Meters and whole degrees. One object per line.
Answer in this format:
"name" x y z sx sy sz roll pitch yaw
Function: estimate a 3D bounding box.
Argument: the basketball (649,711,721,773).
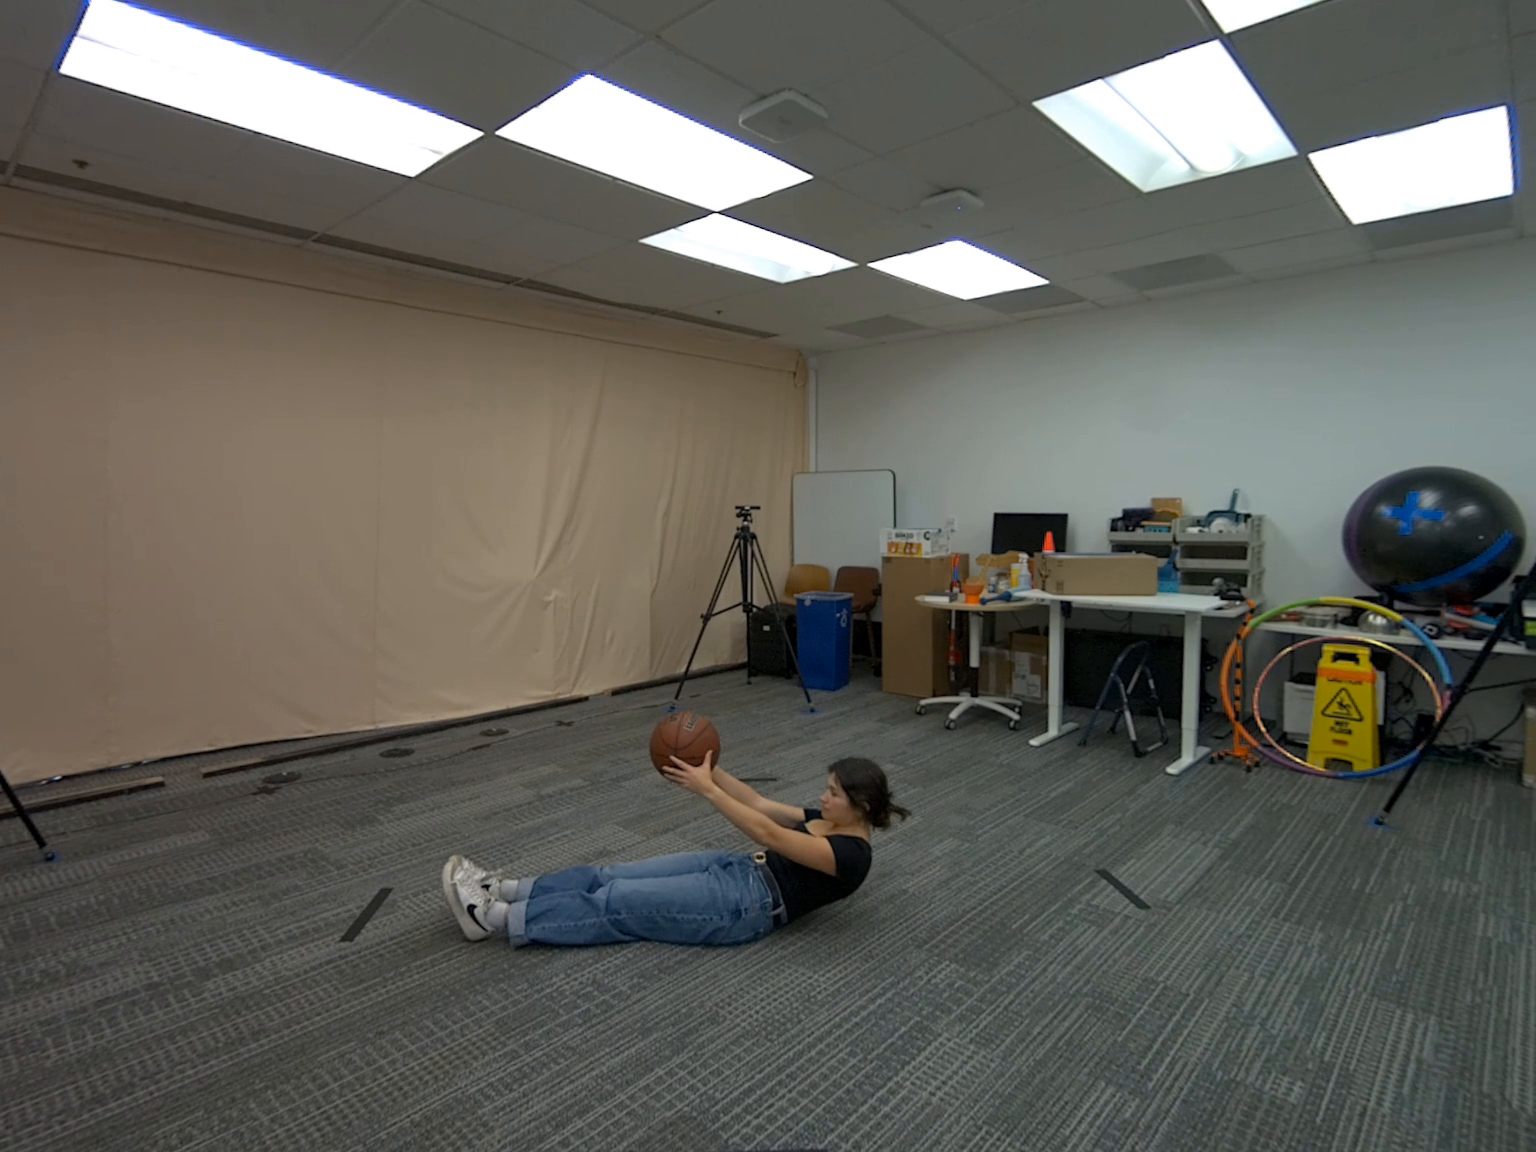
"basketball" -0.265 0.563 2.824 0.236 0.235 0.237 0 4 -2
